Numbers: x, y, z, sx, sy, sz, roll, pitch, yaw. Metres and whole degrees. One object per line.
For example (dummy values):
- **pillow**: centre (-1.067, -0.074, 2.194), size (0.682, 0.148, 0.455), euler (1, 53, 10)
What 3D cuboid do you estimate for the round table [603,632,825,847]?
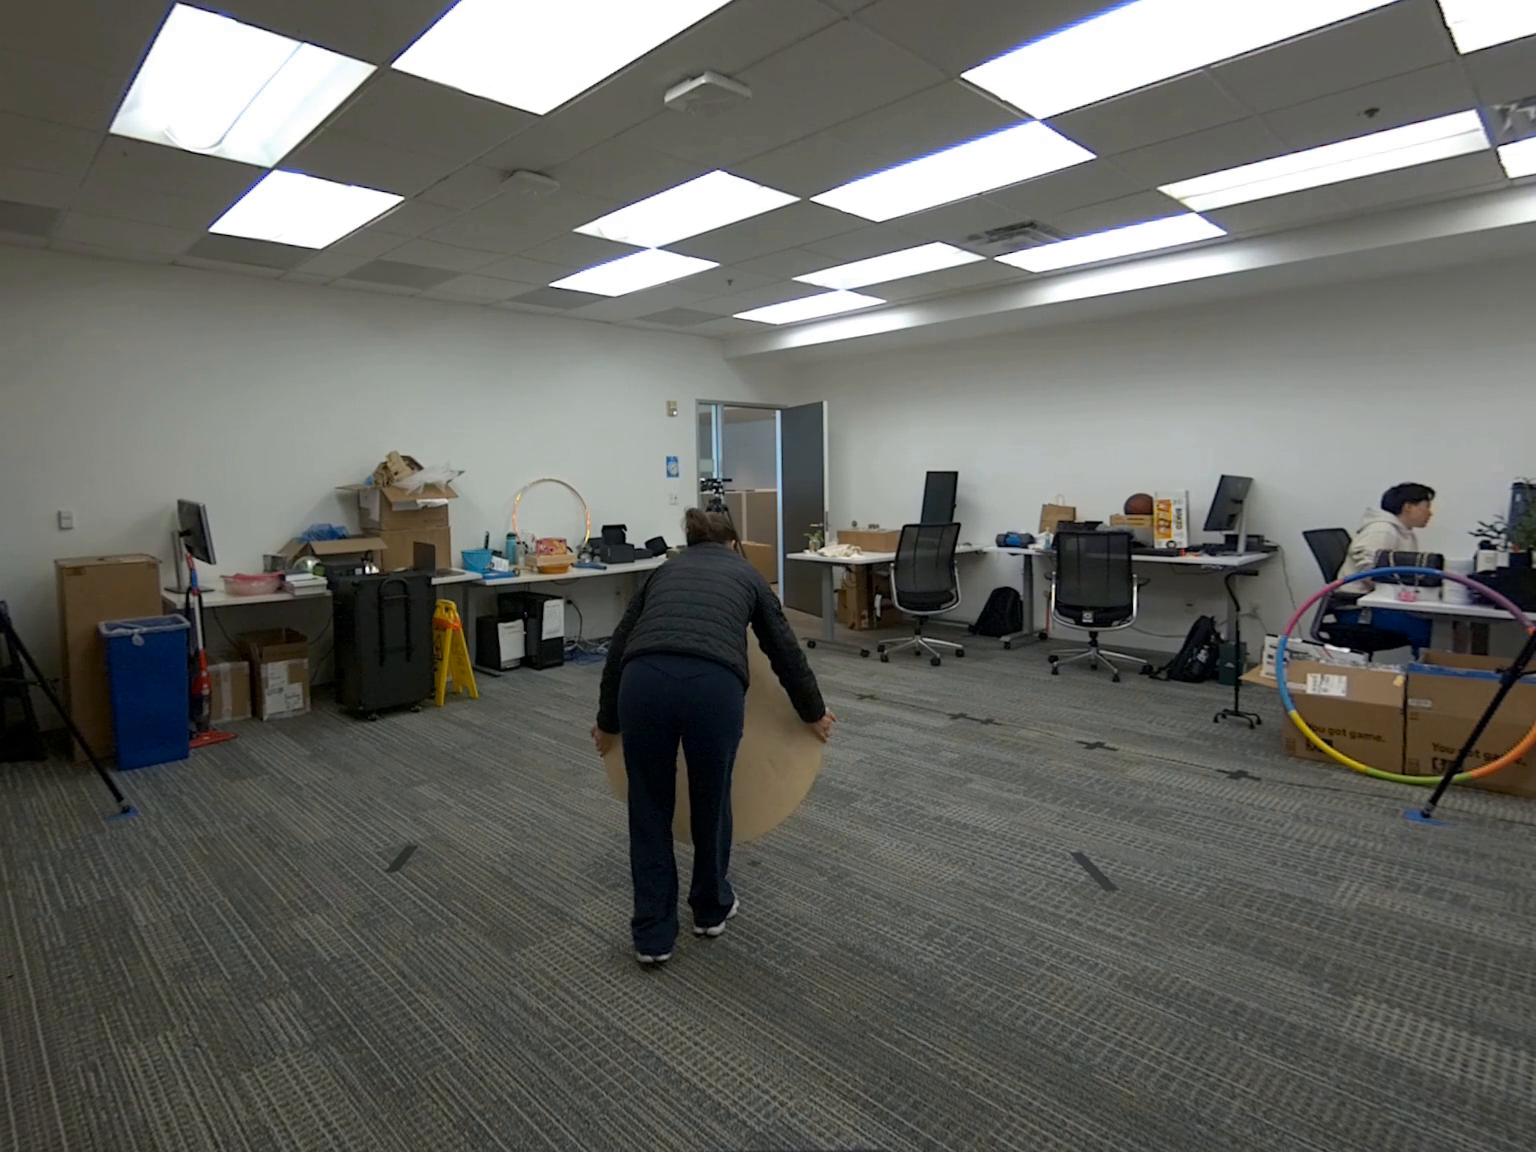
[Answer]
- **round table**: centre (-0.224, 0.614, 3.306), size (0.782, 0.796, 0.778), euler (-1, -15, -4)
